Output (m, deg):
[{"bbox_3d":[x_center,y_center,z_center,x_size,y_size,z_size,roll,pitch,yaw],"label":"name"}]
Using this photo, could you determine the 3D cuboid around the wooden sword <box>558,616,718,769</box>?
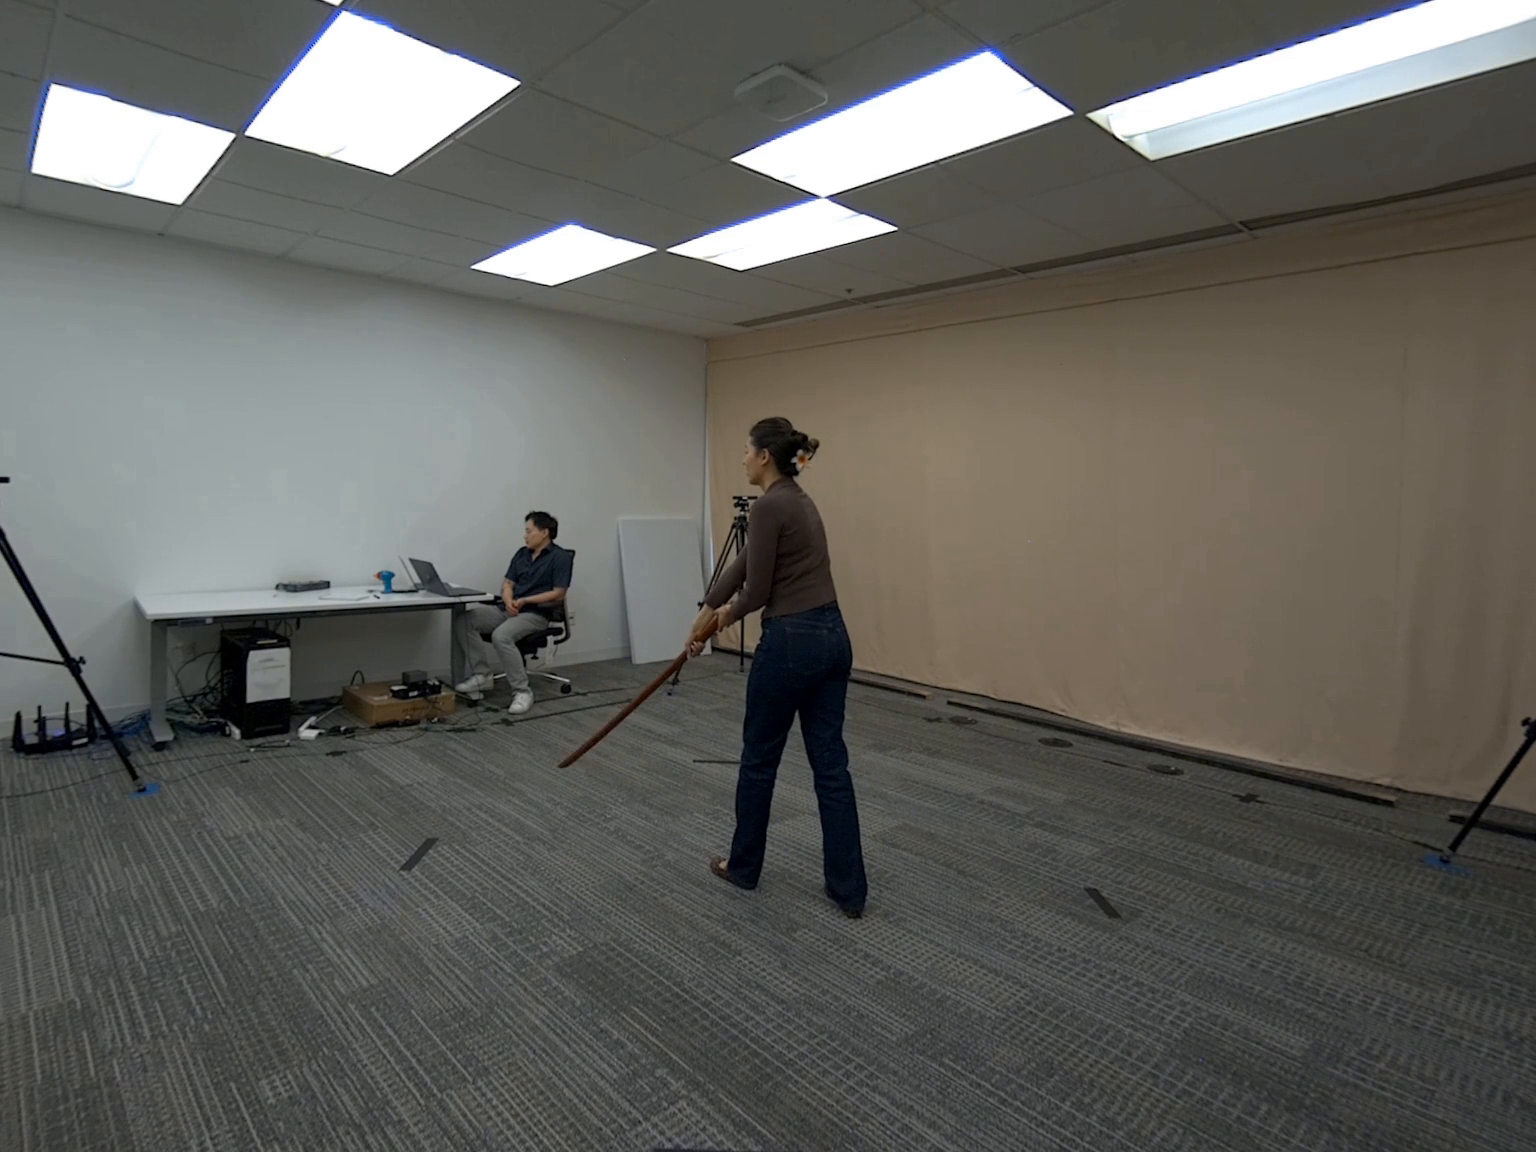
[{"bbox_3d":[-0.499,0.460,3.255,1.026,0.051,0.024,-43,-2,15],"label":"wooden sword"}]
